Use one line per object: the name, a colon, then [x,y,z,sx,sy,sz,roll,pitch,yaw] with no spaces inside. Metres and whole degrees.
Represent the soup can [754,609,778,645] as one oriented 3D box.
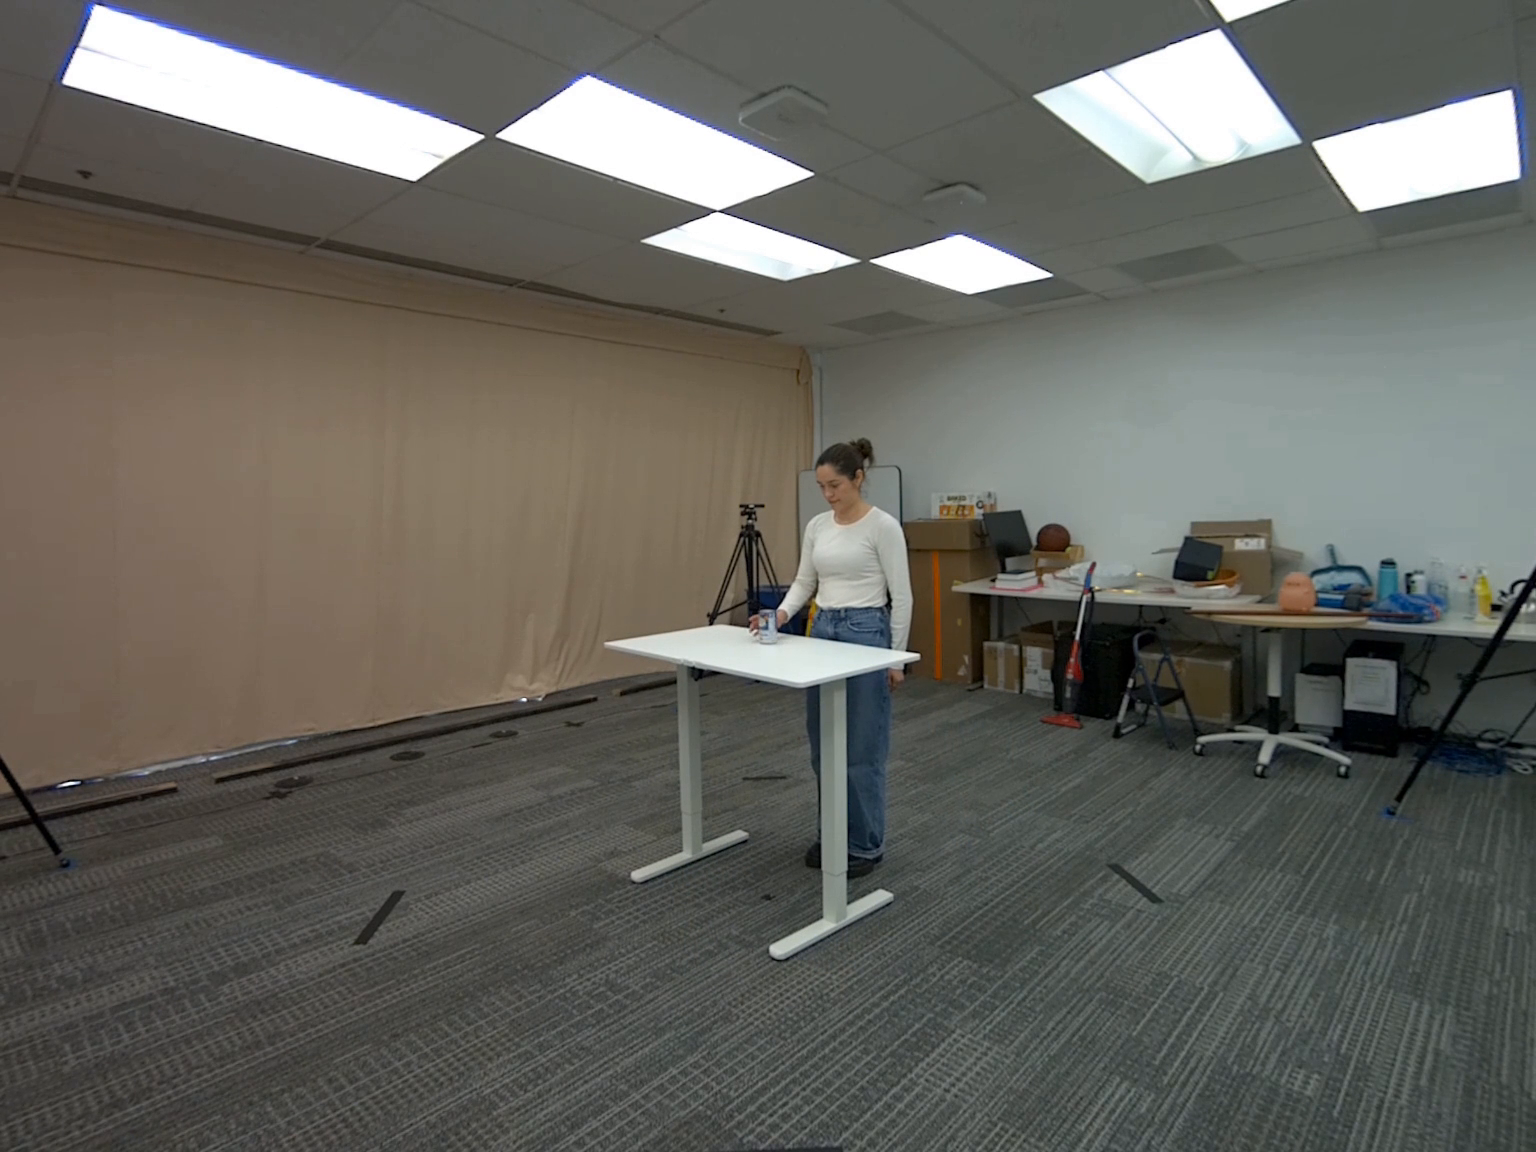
soup can: [0.016,0.184,3.087,0.067,0.121,0.067,0,3,-2]
